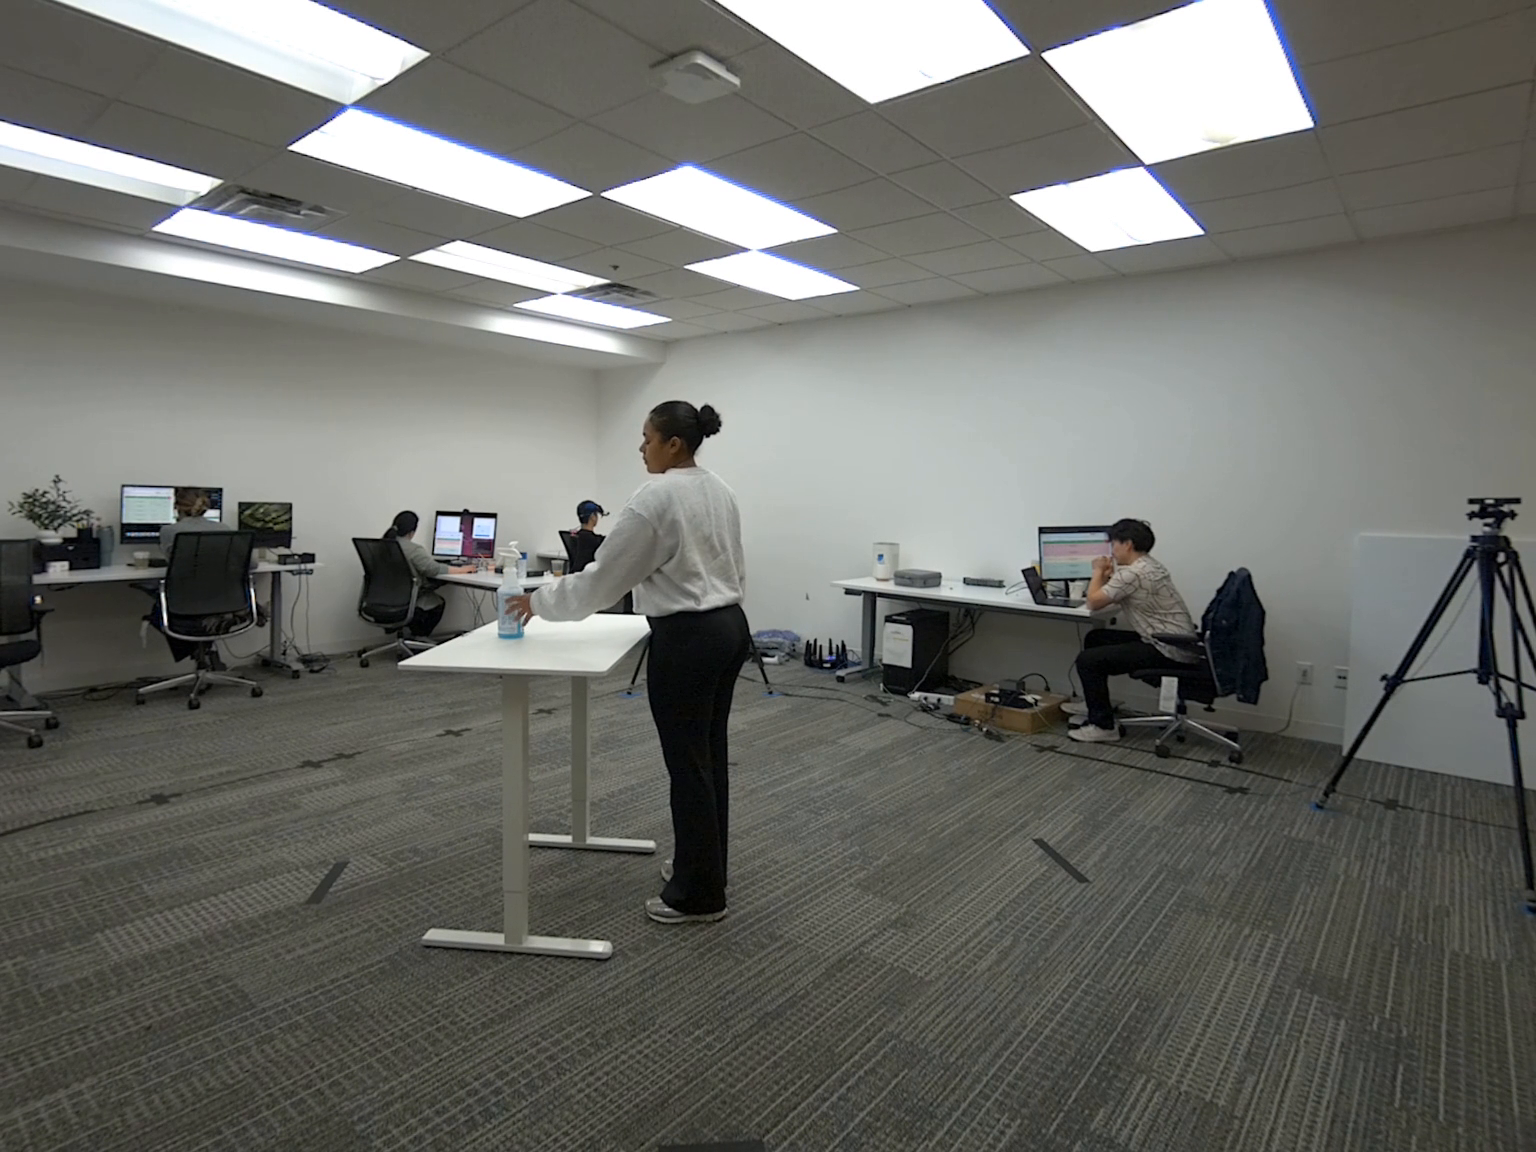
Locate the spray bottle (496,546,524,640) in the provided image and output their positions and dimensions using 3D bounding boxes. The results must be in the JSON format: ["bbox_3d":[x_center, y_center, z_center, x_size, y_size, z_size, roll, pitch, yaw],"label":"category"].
[{"bbox_3d":[-0.877,0.056,2.851,0.092,0.297,0.084,-2,0,33],"label":"spray bottle"}]
